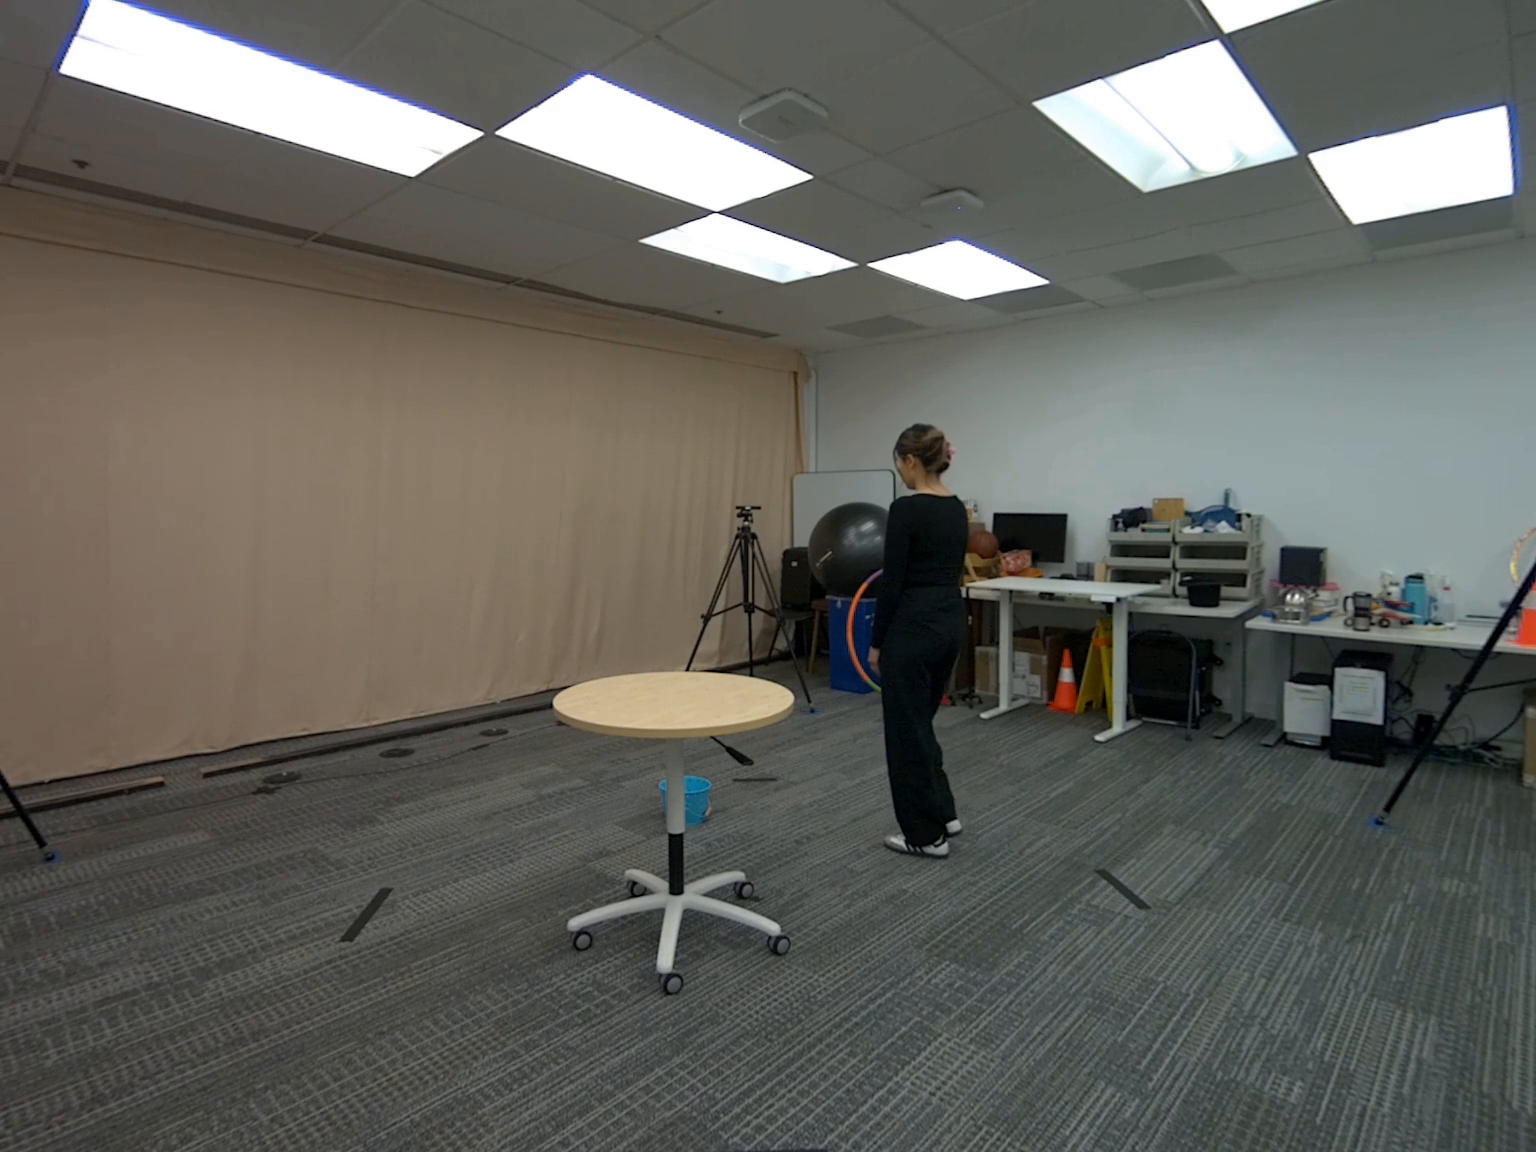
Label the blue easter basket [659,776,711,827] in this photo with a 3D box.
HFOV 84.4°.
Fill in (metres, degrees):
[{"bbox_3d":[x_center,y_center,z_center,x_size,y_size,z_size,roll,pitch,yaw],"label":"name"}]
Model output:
[{"bbox_3d":[-0.368,1.010,3.770,0.243,0.155,0.244,-1,4,-2],"label":"blue easter basket"}]
